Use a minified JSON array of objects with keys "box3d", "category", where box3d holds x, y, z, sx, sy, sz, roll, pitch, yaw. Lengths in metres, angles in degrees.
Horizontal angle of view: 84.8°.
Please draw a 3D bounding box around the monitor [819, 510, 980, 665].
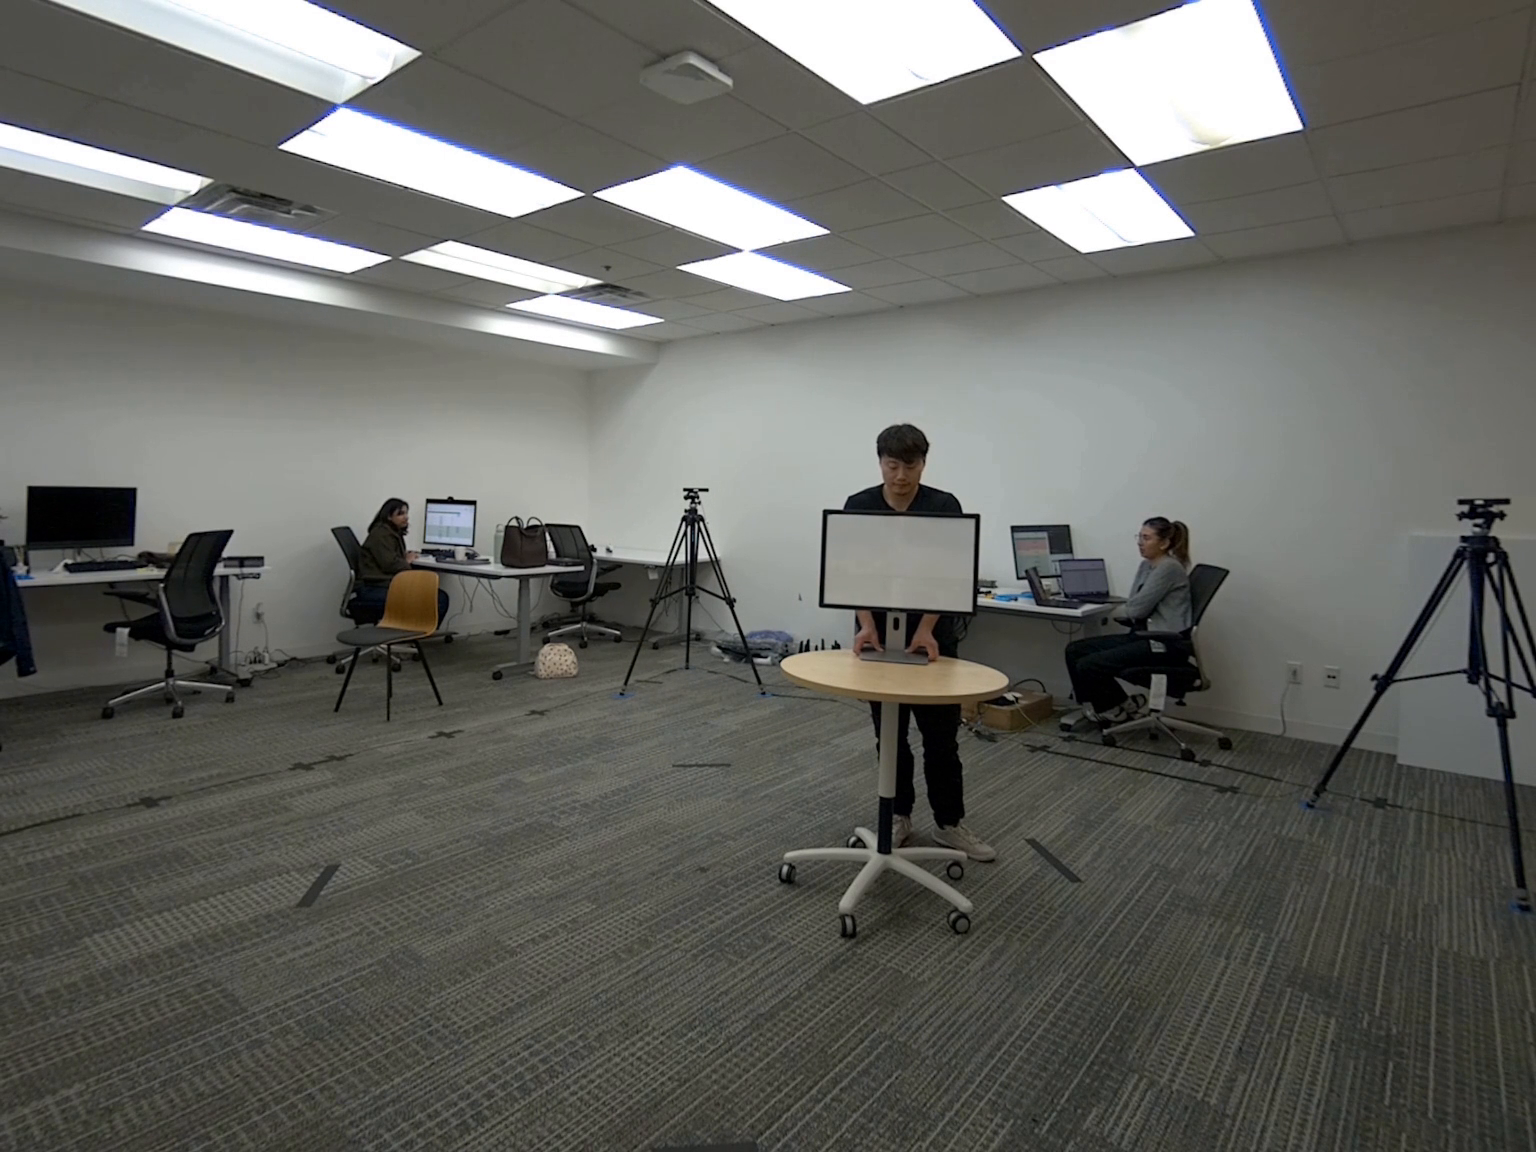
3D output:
[{"box3d":[0.467,0.026,3.123,0.547,0.518,0.186,3,10,12],"category":"monitor"}]
